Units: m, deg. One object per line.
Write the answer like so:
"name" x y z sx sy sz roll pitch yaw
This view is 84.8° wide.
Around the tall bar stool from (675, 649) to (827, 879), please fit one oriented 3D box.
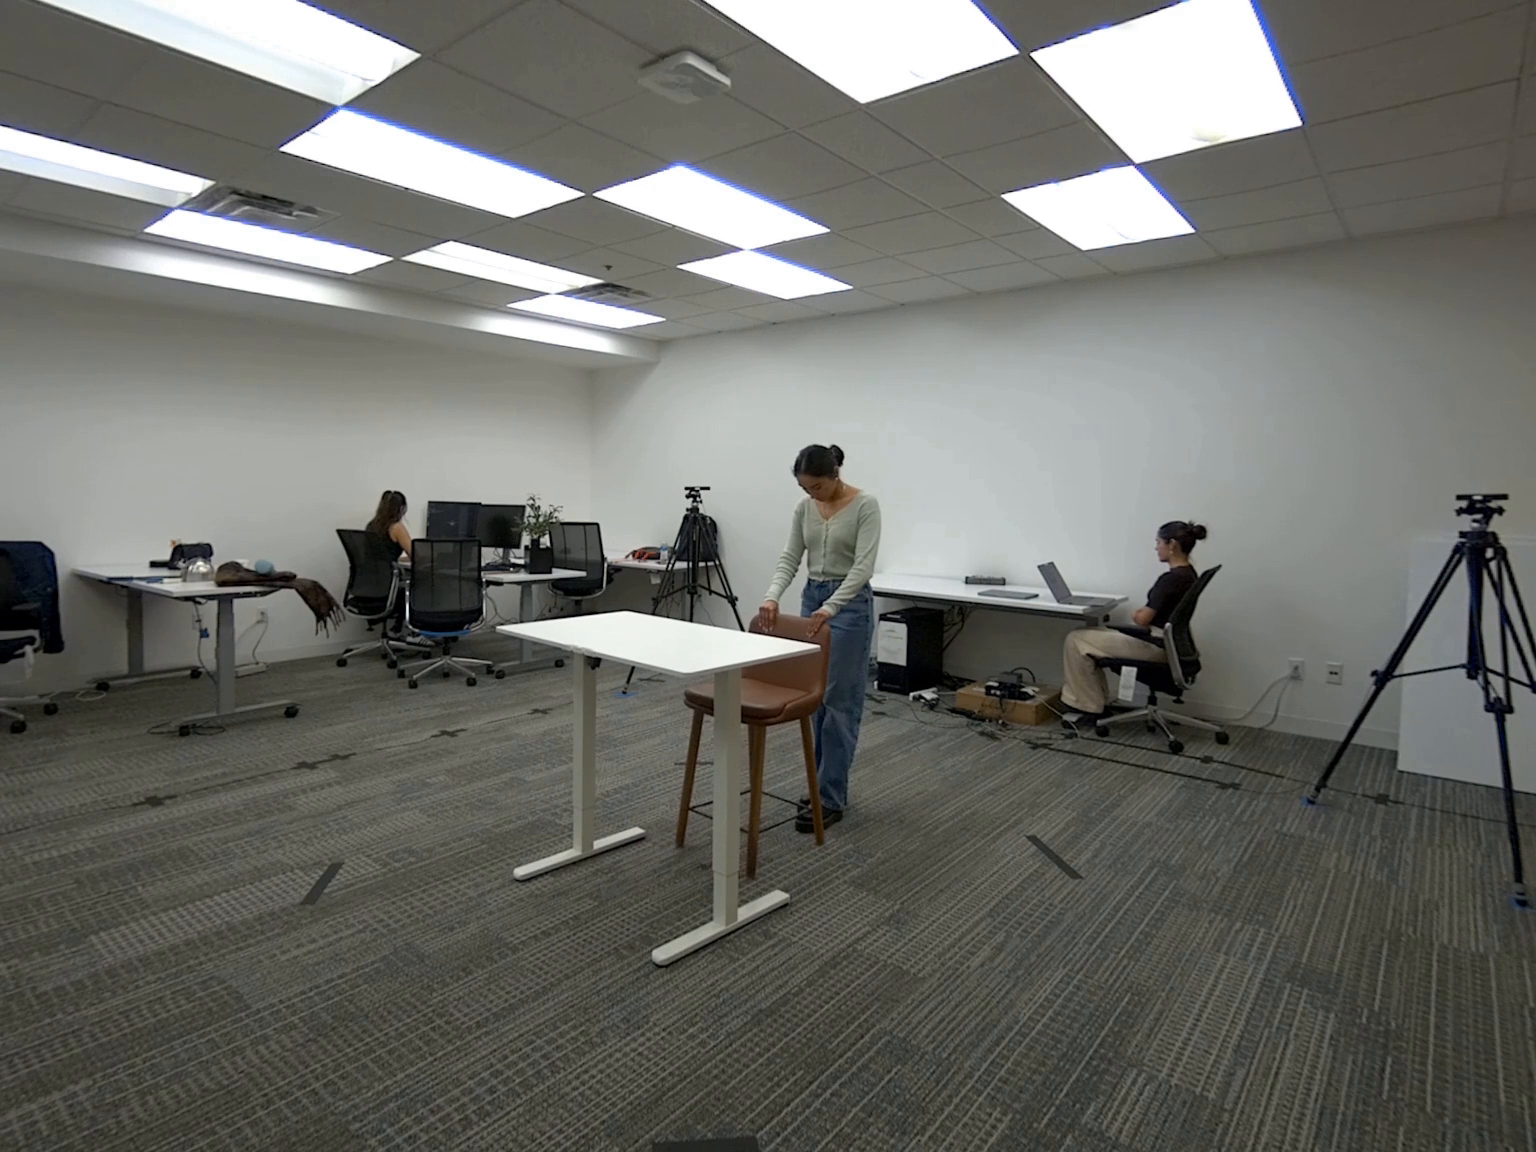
"tall bar stool" -0.055 0.607 3.305 0.472 0.889 0.452 4 2 43
